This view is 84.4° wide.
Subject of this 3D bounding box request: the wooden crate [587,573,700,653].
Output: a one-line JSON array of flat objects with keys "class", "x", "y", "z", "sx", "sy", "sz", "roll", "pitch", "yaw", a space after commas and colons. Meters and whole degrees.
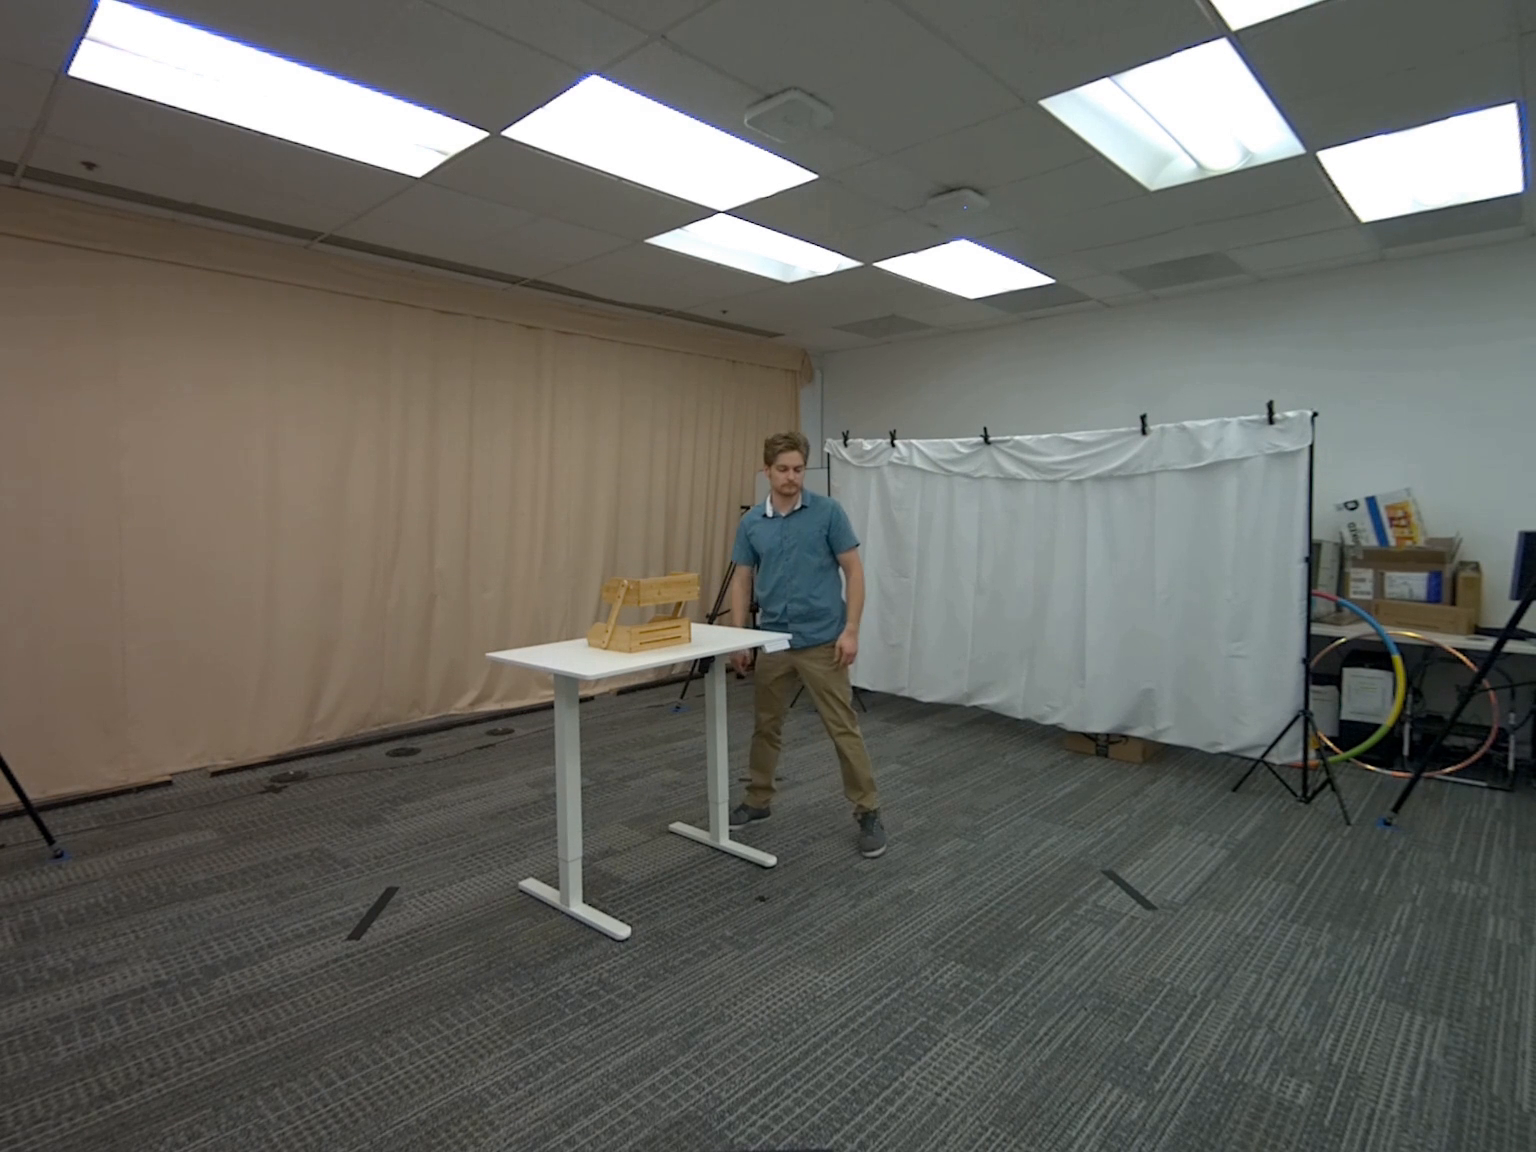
[{"class": "wooden crate", "x": -0.465, "y": 0.124, "z": 3.103, "sx": 0.312, "sy": 0.272, "sz": 0.315, "roll": 3, "pitch": 6, "yaw": 43}]
